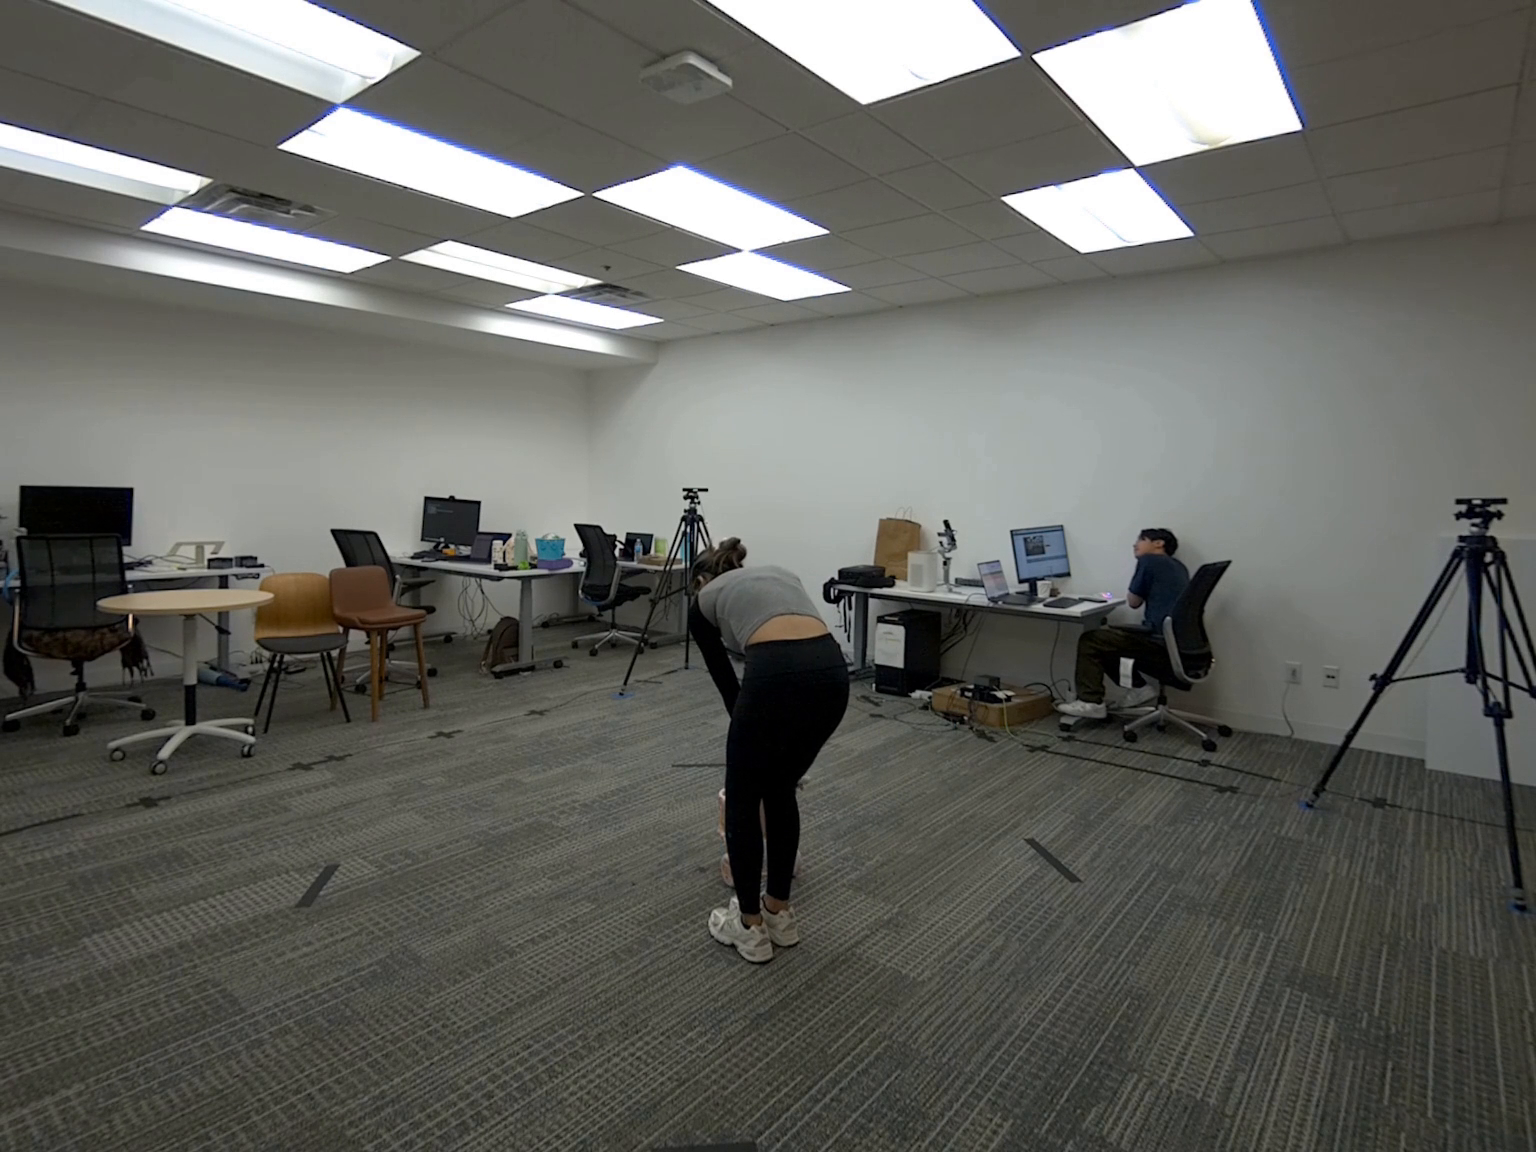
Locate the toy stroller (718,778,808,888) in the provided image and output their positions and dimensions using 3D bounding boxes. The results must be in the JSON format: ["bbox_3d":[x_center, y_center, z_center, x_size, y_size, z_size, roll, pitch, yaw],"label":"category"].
[{"bbox_3d":[-0.045,0.845,3.078,0.275,0.527,0.354,1,21,-22],"label":"toy stroller"}]
